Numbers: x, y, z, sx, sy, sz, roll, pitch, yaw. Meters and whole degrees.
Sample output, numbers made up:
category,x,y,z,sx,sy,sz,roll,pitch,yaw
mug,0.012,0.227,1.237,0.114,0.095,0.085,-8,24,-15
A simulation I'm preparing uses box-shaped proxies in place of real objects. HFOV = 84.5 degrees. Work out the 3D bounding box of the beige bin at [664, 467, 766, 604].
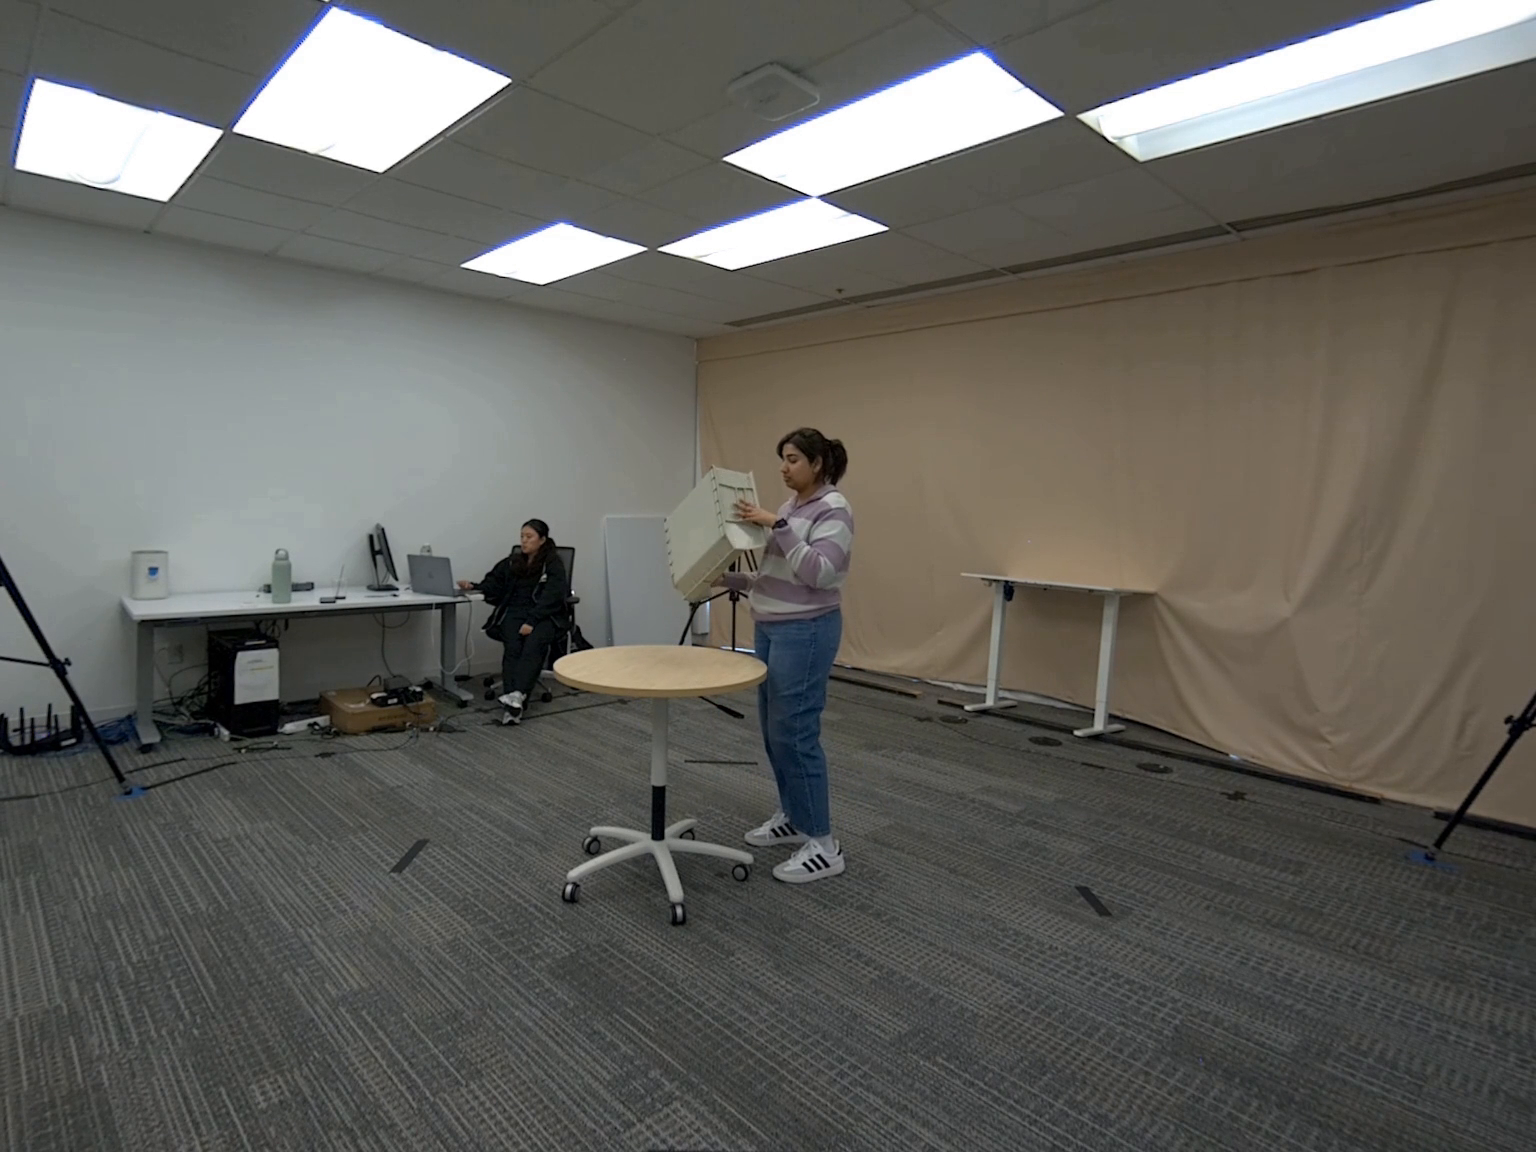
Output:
category,x,y,z,sx,sy,sz,roll,pitch,yaw
beige bin,-0.222,-0.153,3.264,0.184,0.386,0.423,9,-34,-33
